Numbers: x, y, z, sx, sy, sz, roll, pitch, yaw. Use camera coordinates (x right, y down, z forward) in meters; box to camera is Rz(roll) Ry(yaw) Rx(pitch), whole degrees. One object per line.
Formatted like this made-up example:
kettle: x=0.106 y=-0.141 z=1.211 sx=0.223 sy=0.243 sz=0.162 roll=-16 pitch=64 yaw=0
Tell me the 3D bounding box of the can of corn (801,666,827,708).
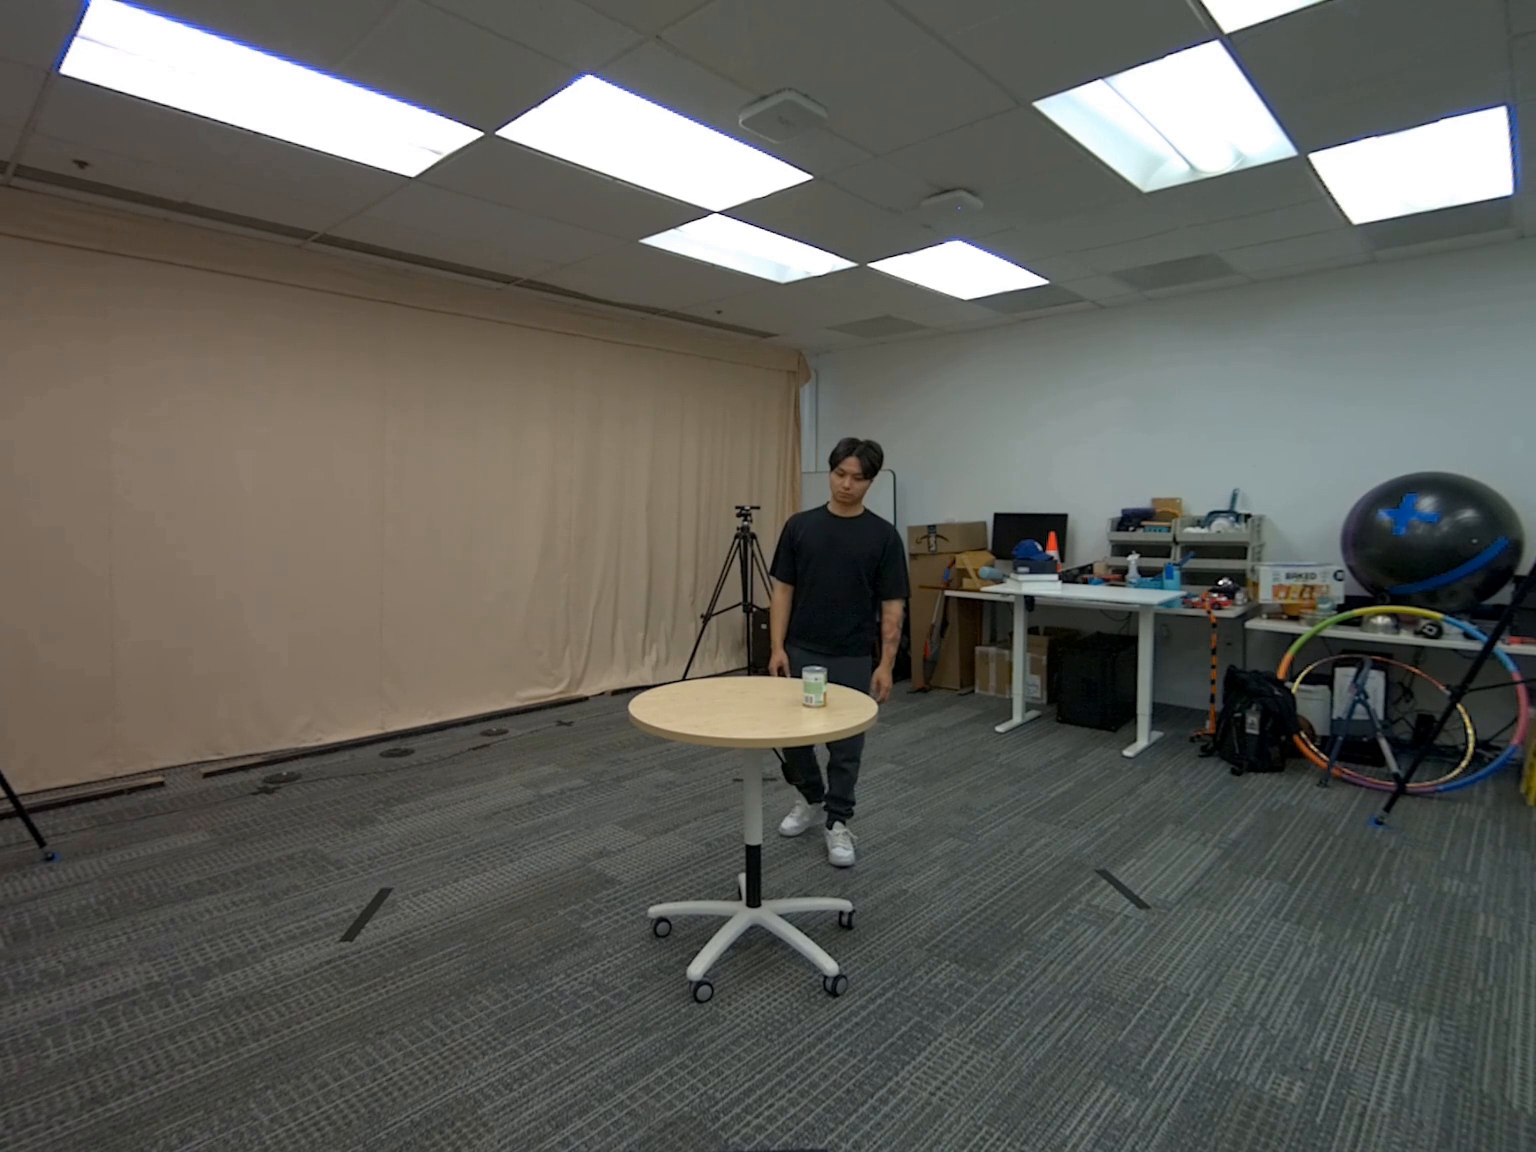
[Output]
can of corn: x=0.146 y=0.337 z=2.572 sx=0.074 sy=0.111 sz=0.074 roll=1 pitch=5 yaw=-2
